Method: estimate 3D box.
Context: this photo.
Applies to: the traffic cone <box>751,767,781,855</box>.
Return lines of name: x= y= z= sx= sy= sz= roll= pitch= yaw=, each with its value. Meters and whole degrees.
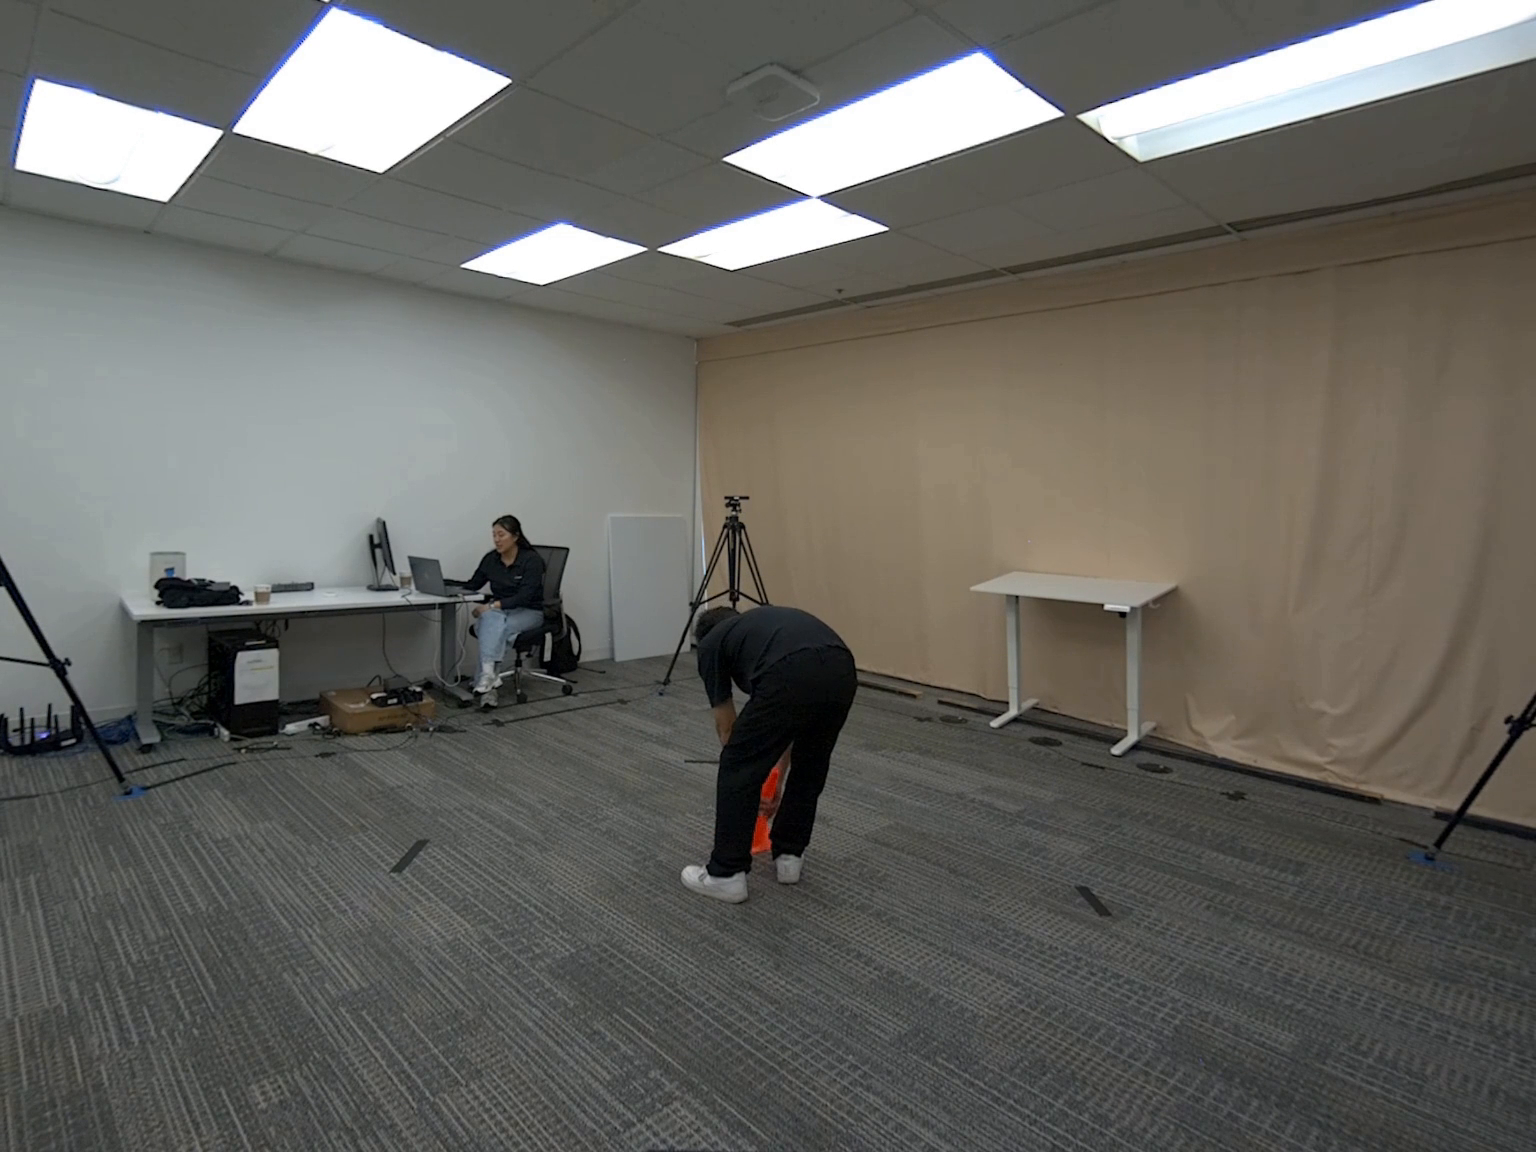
traffic cone: x=-0.035 y=0.887 z=3.276 sx=0.201 sy=0.379 sz=0.210 roll=-5 pitch=39 yaw=-38
